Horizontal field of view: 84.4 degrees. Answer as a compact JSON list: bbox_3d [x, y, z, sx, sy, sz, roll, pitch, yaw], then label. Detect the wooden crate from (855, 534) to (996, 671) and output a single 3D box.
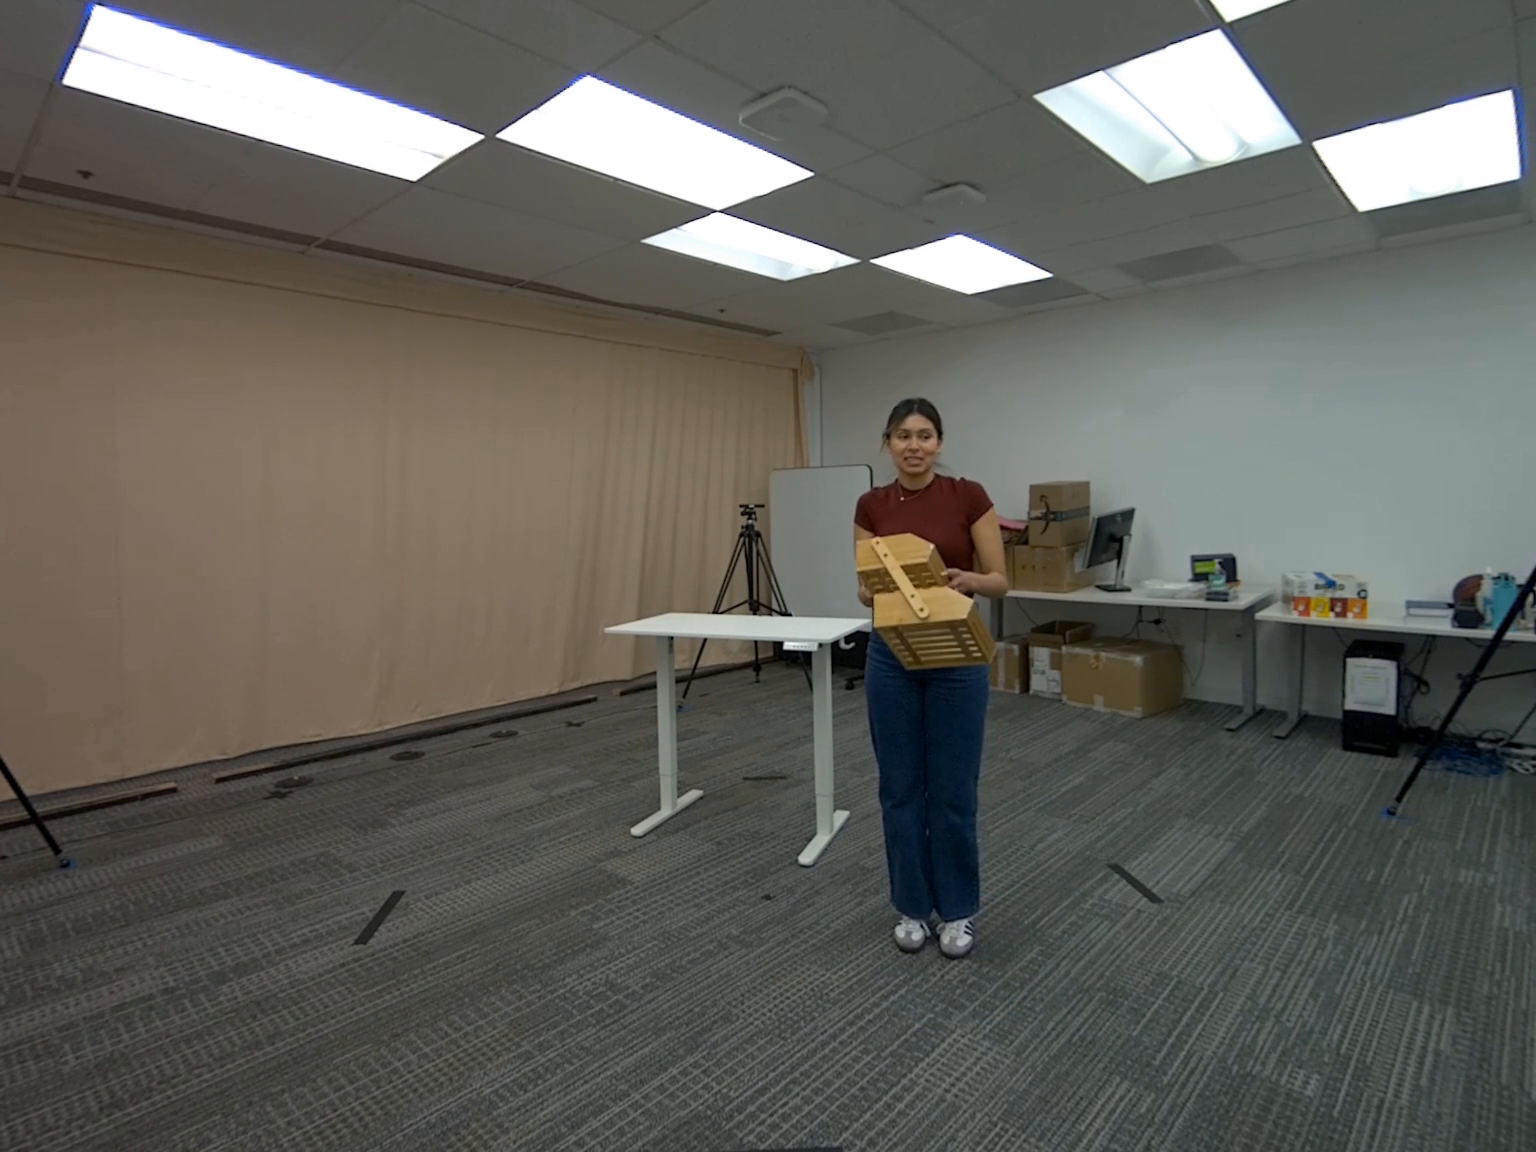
[{"bbox_3d":[0.428,0.070,2.274,0.309,0.277,0.313,-8,-30,24],"label":"wooden crate"}]
